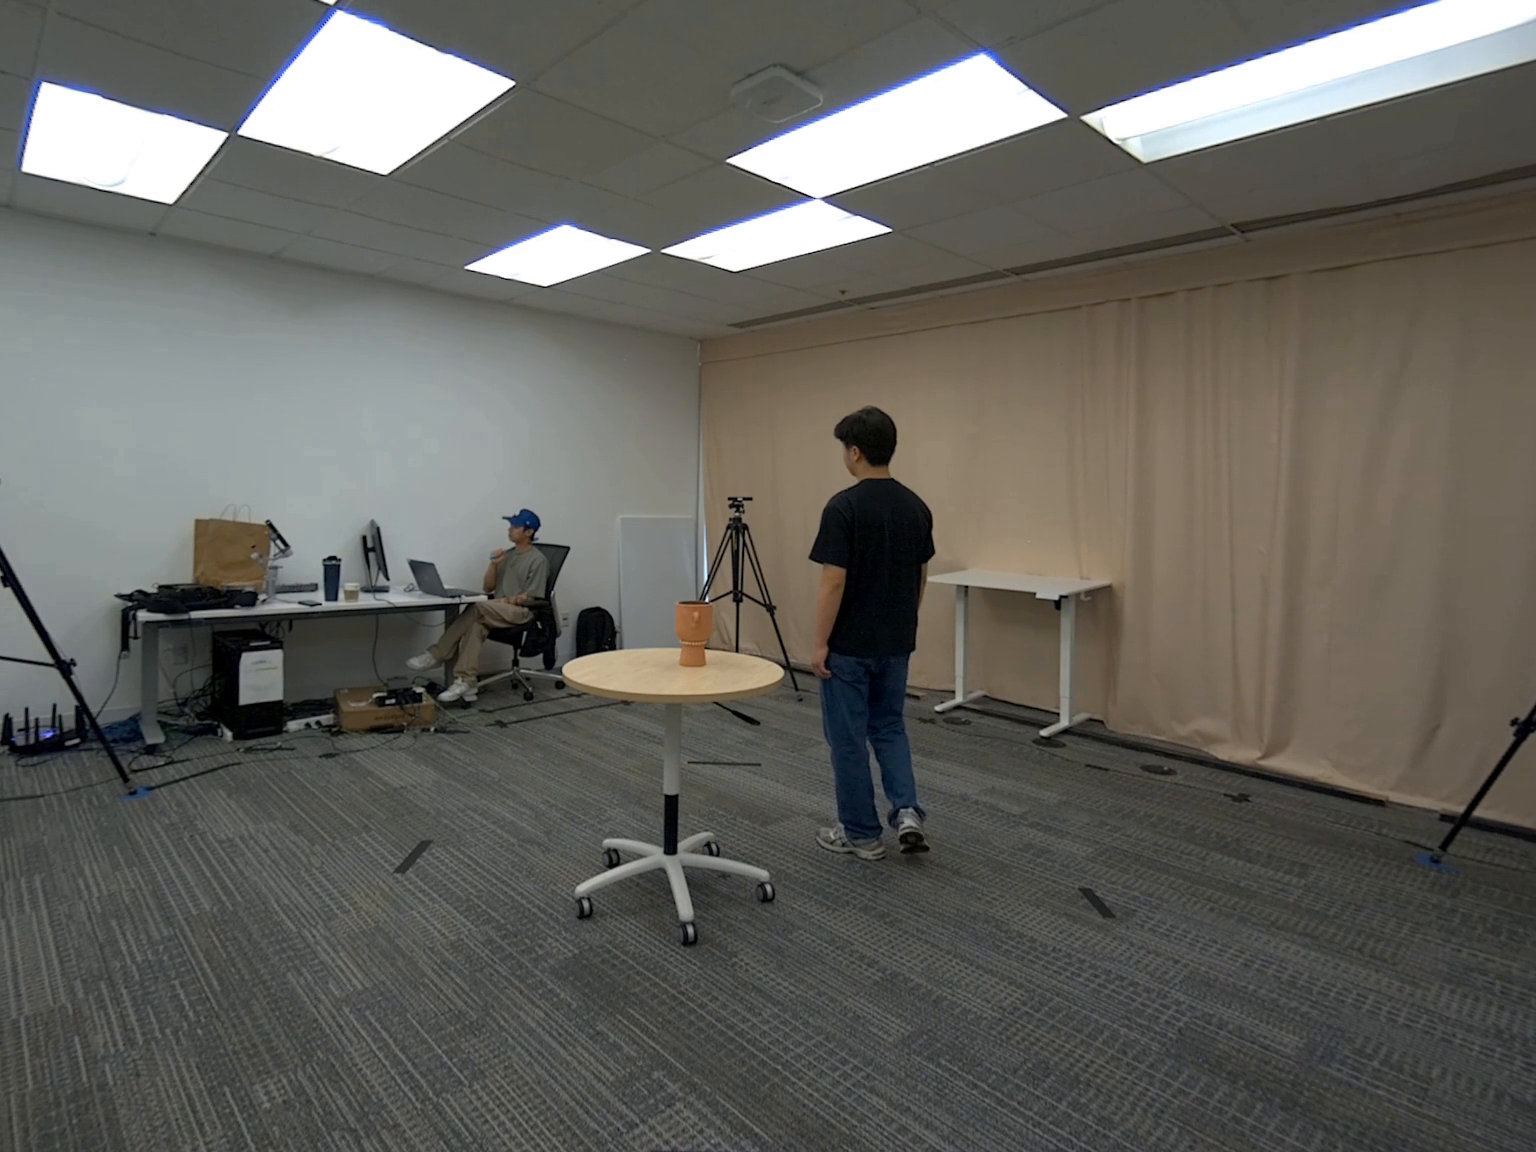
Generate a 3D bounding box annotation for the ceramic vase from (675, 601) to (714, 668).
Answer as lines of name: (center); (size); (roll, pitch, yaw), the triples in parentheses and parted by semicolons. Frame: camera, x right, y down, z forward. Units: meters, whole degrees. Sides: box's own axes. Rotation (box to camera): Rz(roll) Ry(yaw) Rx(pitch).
ceramic vase: (-0.270, 0.208, 2.999); (0.137, 0.219, 0.156); (5, 4, 30)
